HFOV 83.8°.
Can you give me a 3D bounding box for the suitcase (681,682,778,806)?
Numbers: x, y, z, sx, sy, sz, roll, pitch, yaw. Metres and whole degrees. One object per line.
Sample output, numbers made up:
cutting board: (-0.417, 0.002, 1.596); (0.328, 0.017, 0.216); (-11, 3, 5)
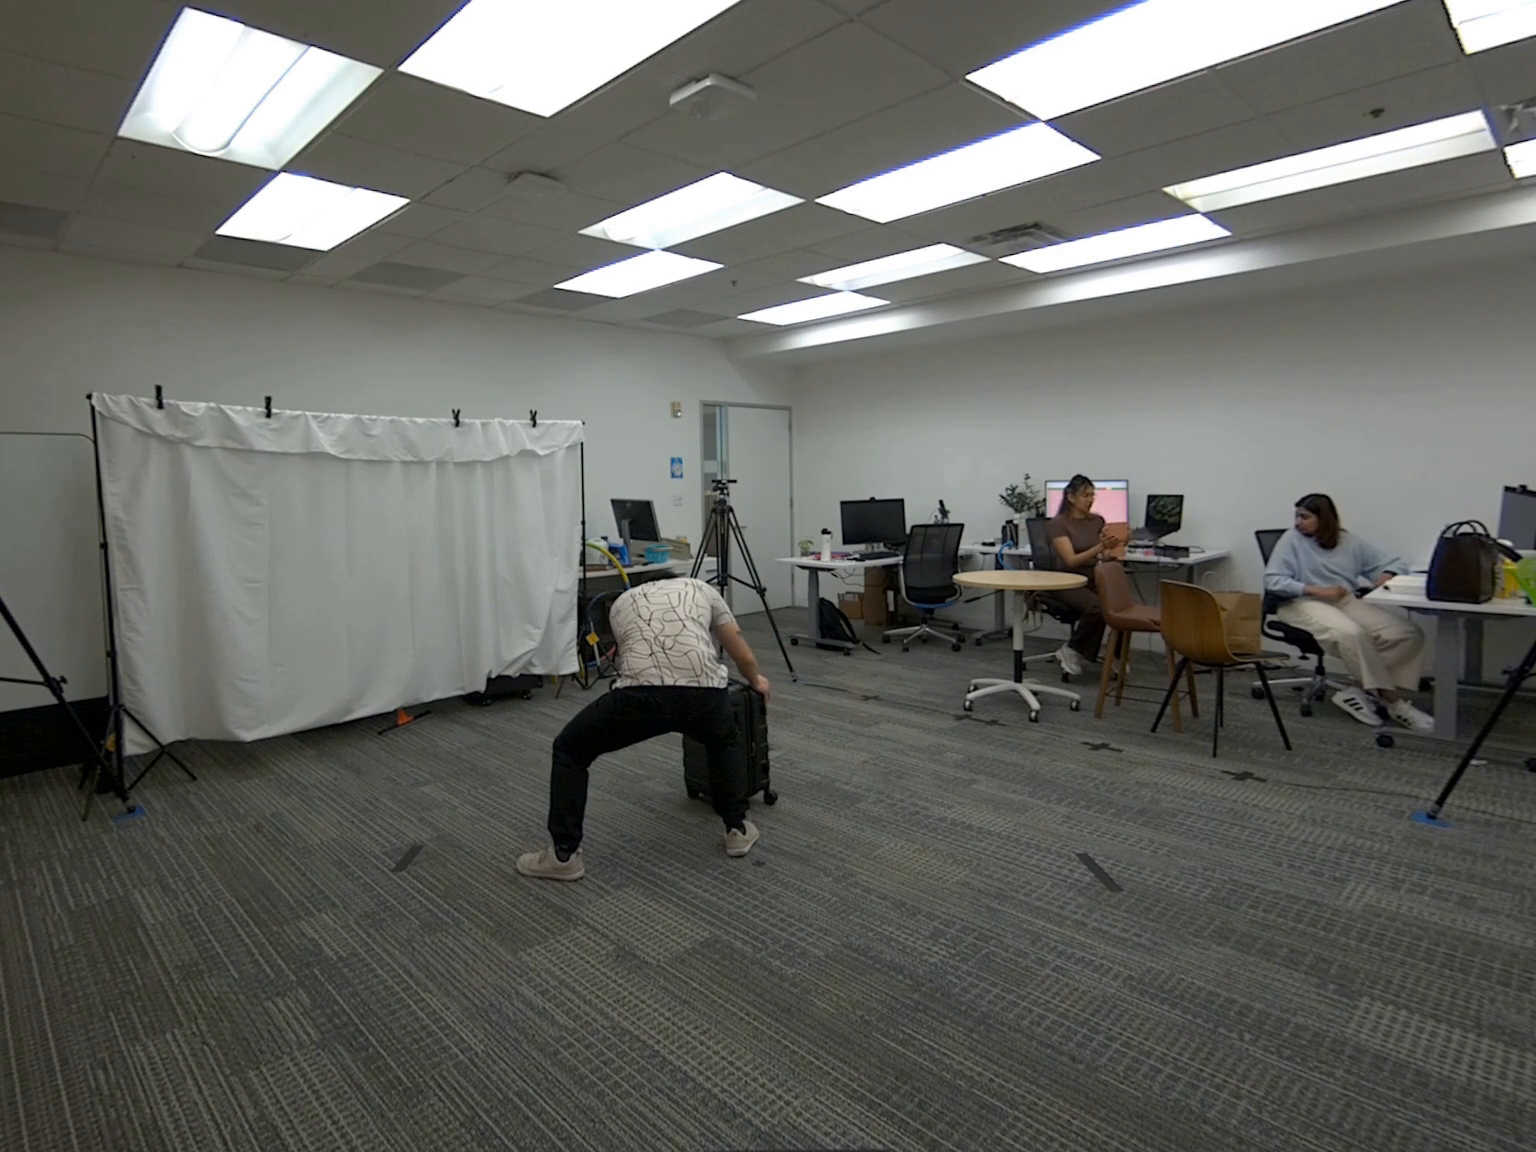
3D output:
suitcase: (-0.186, 0.711, 3.724); (0.242, 0.547, 0.386); (-5, 5, -41)
